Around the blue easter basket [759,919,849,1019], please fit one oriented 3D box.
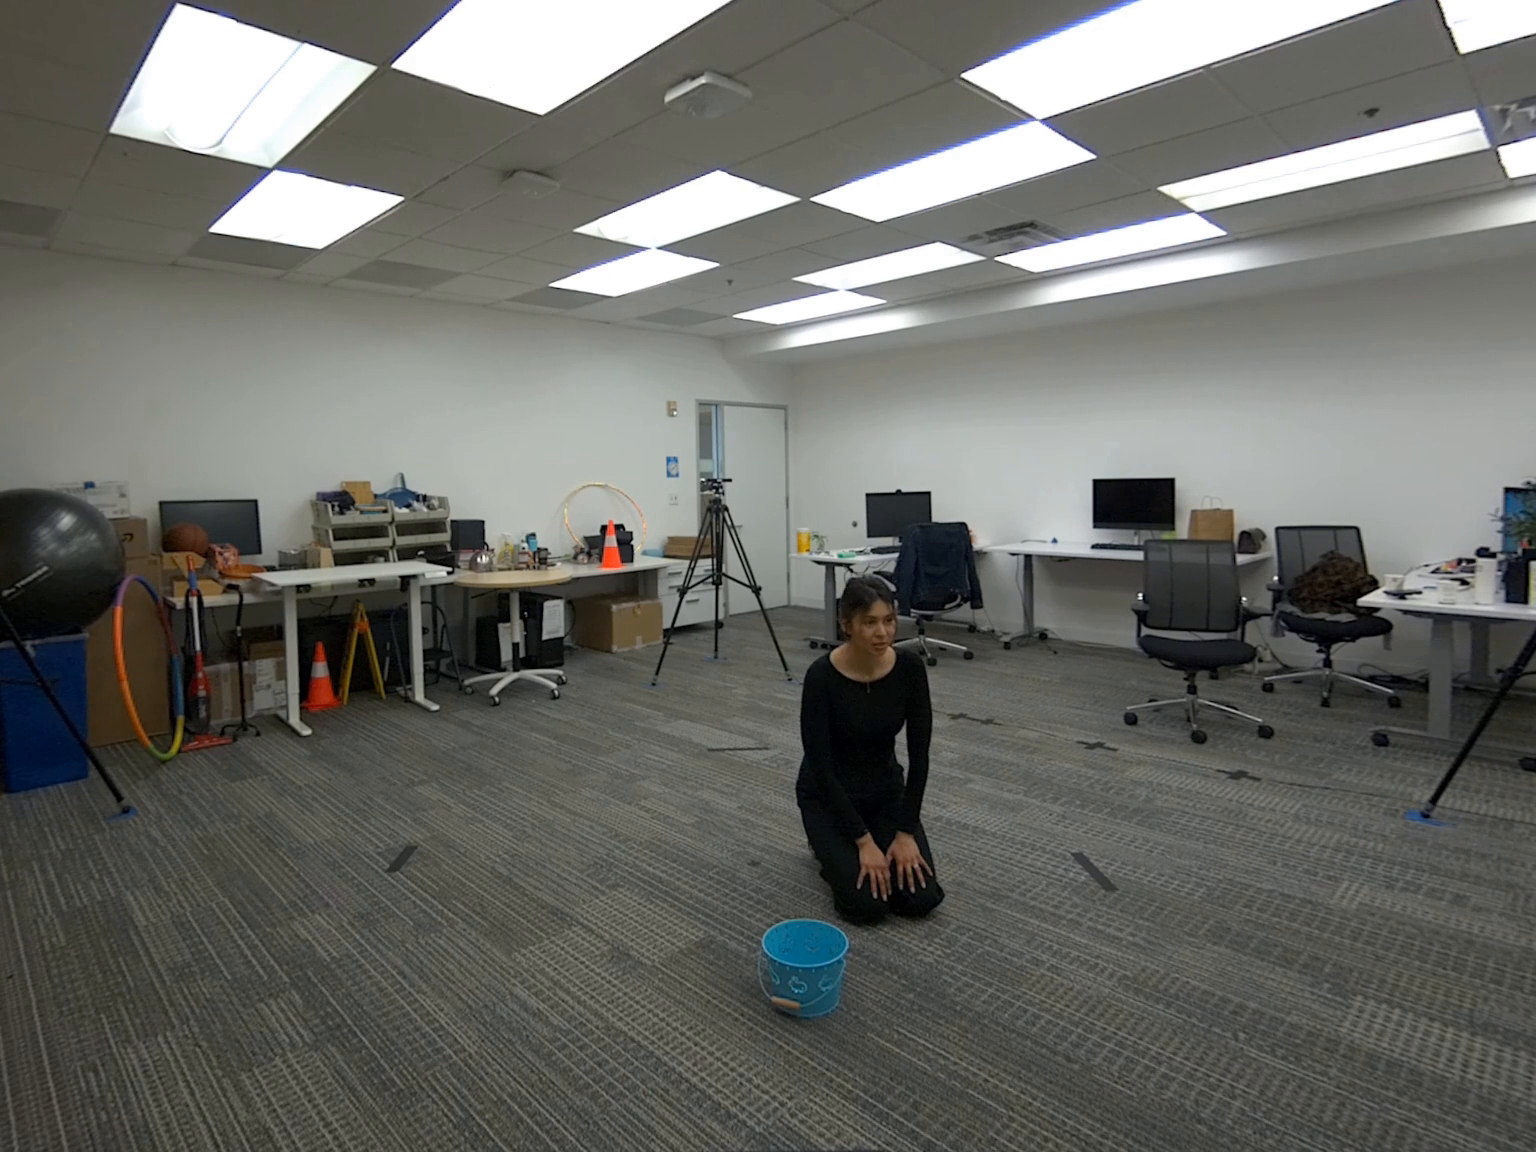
[{"bbox_3d":[0.101,1.061,2.303,0.243,0.155,0.245,-2,5,-1],"label":"blue easter basket"}]
